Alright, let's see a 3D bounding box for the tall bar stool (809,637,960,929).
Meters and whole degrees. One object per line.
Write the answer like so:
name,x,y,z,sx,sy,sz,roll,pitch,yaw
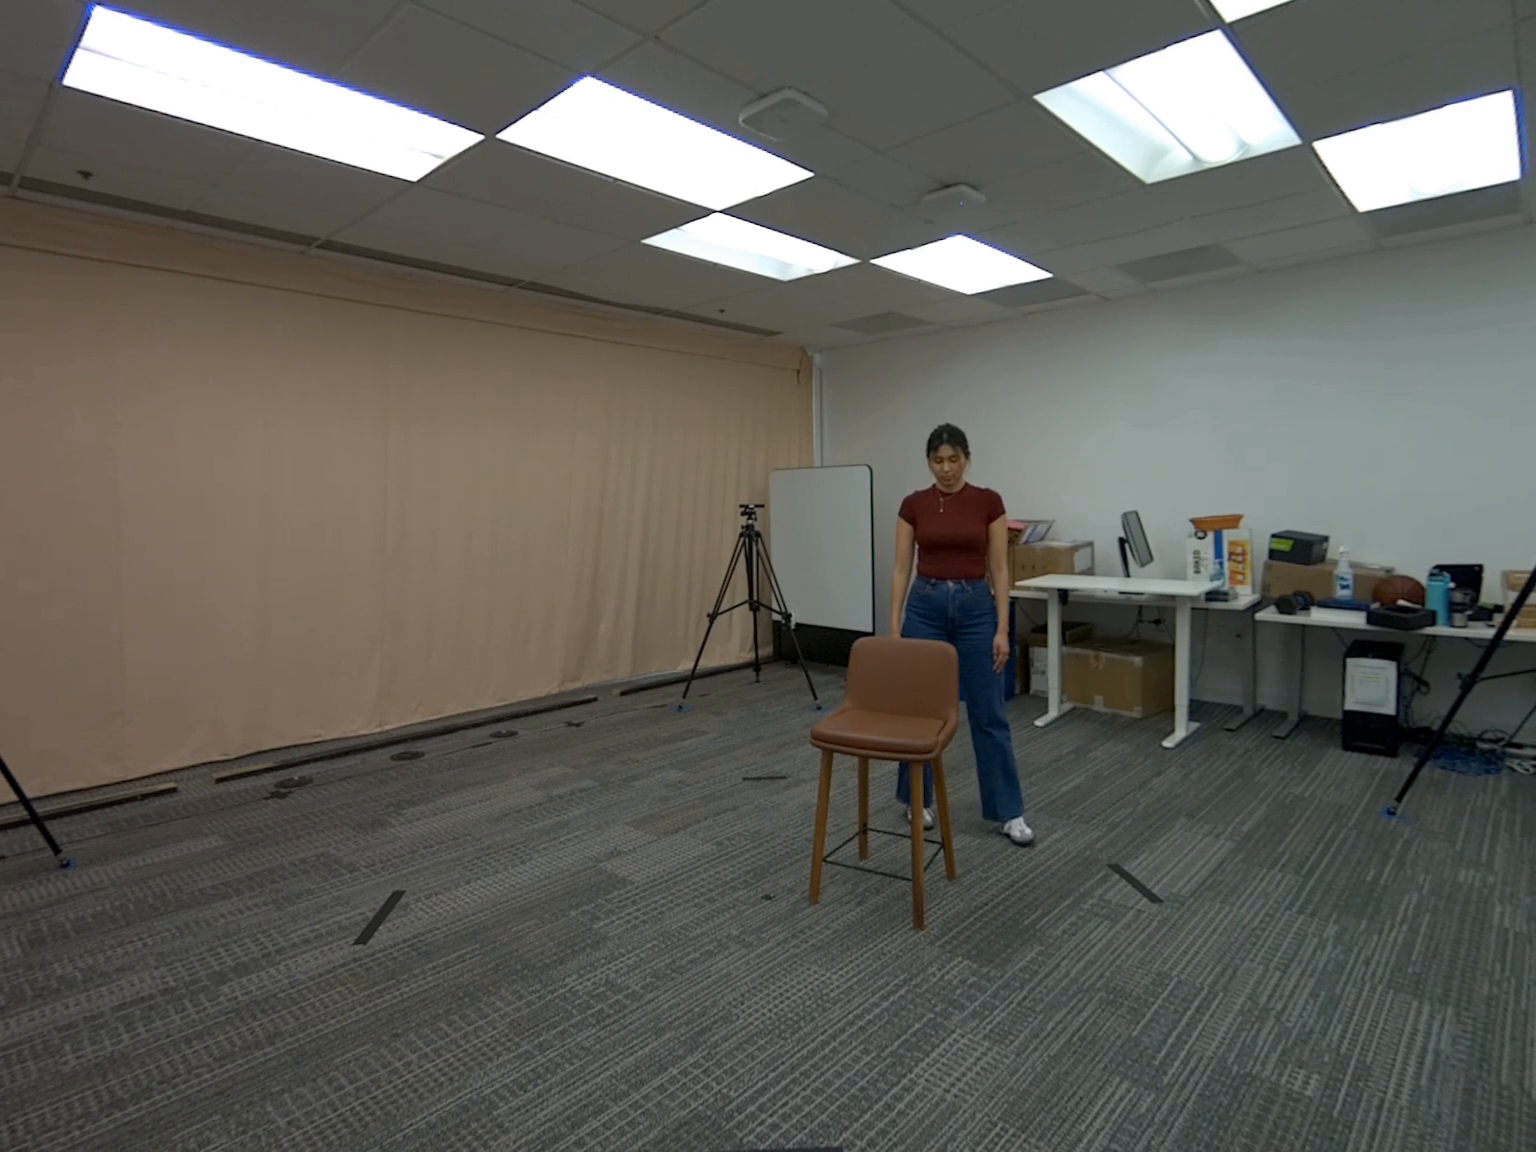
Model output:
tall bar stool,0.428,0.694,3.006,0.470,0.888,0.454,2,2,31
